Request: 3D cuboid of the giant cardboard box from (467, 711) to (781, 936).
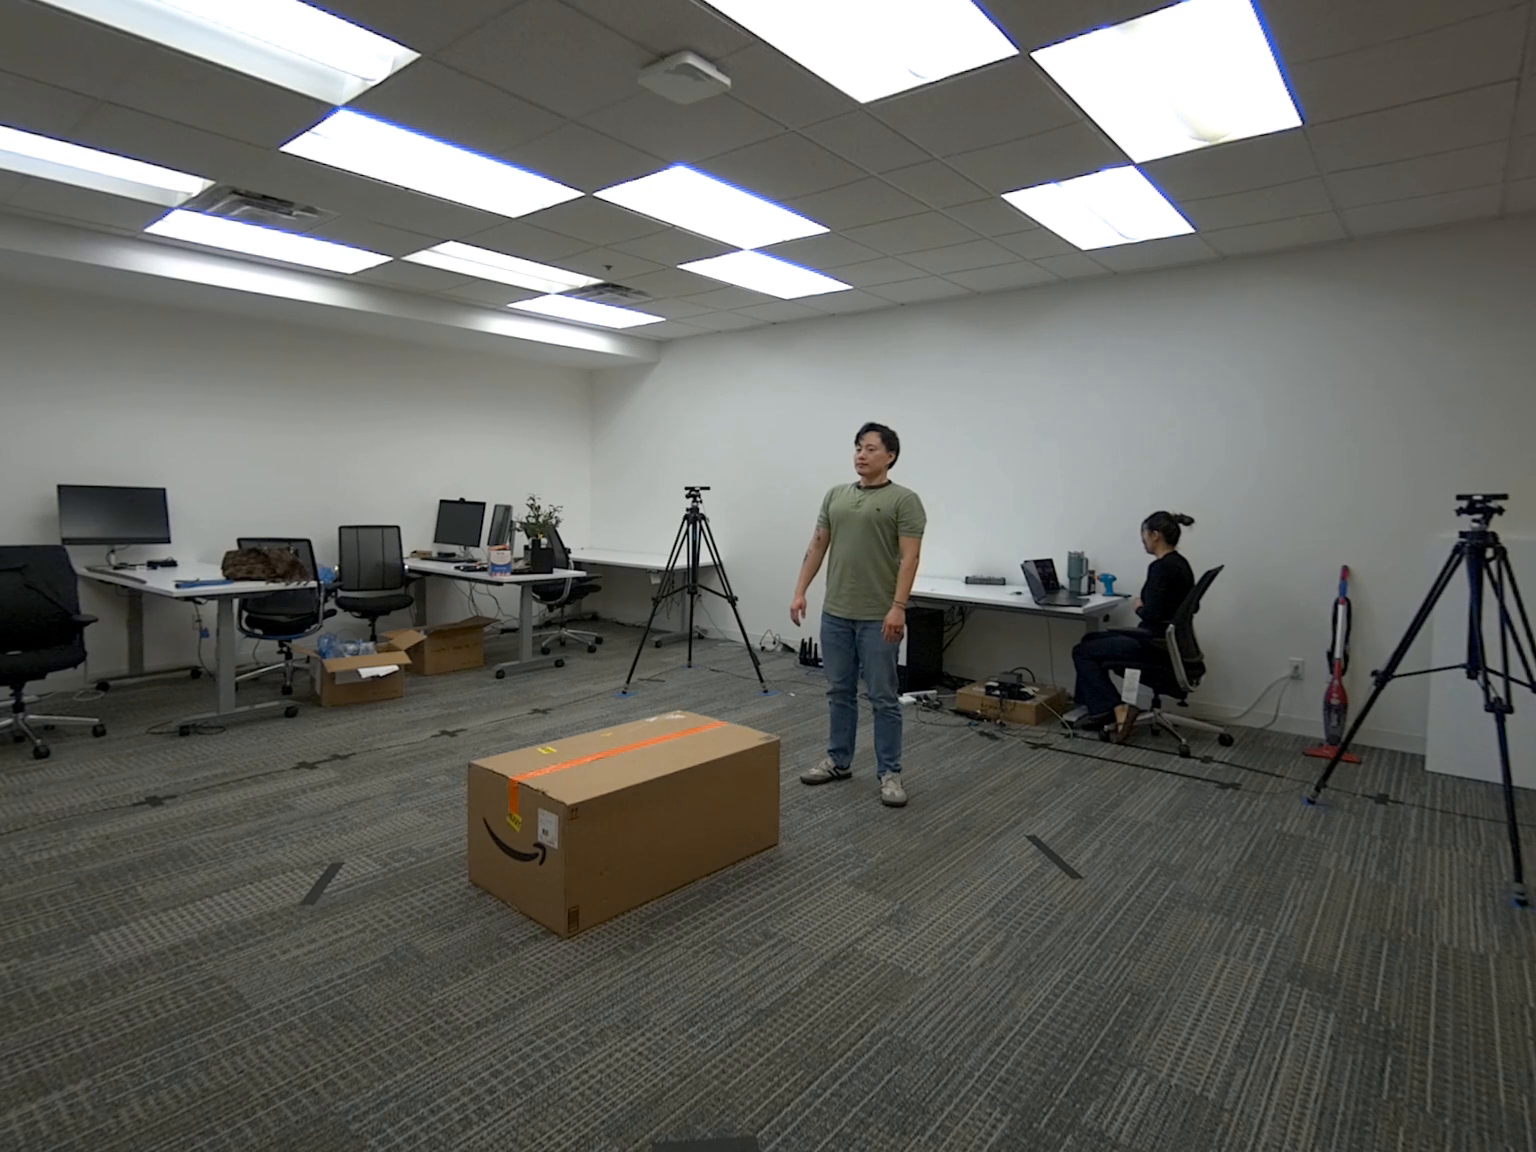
[{"bbox_3d":[-0.511,0.845,3.145,0.597,0.425,0.996,4,6,42],"label":"giant cardboard box"}]
